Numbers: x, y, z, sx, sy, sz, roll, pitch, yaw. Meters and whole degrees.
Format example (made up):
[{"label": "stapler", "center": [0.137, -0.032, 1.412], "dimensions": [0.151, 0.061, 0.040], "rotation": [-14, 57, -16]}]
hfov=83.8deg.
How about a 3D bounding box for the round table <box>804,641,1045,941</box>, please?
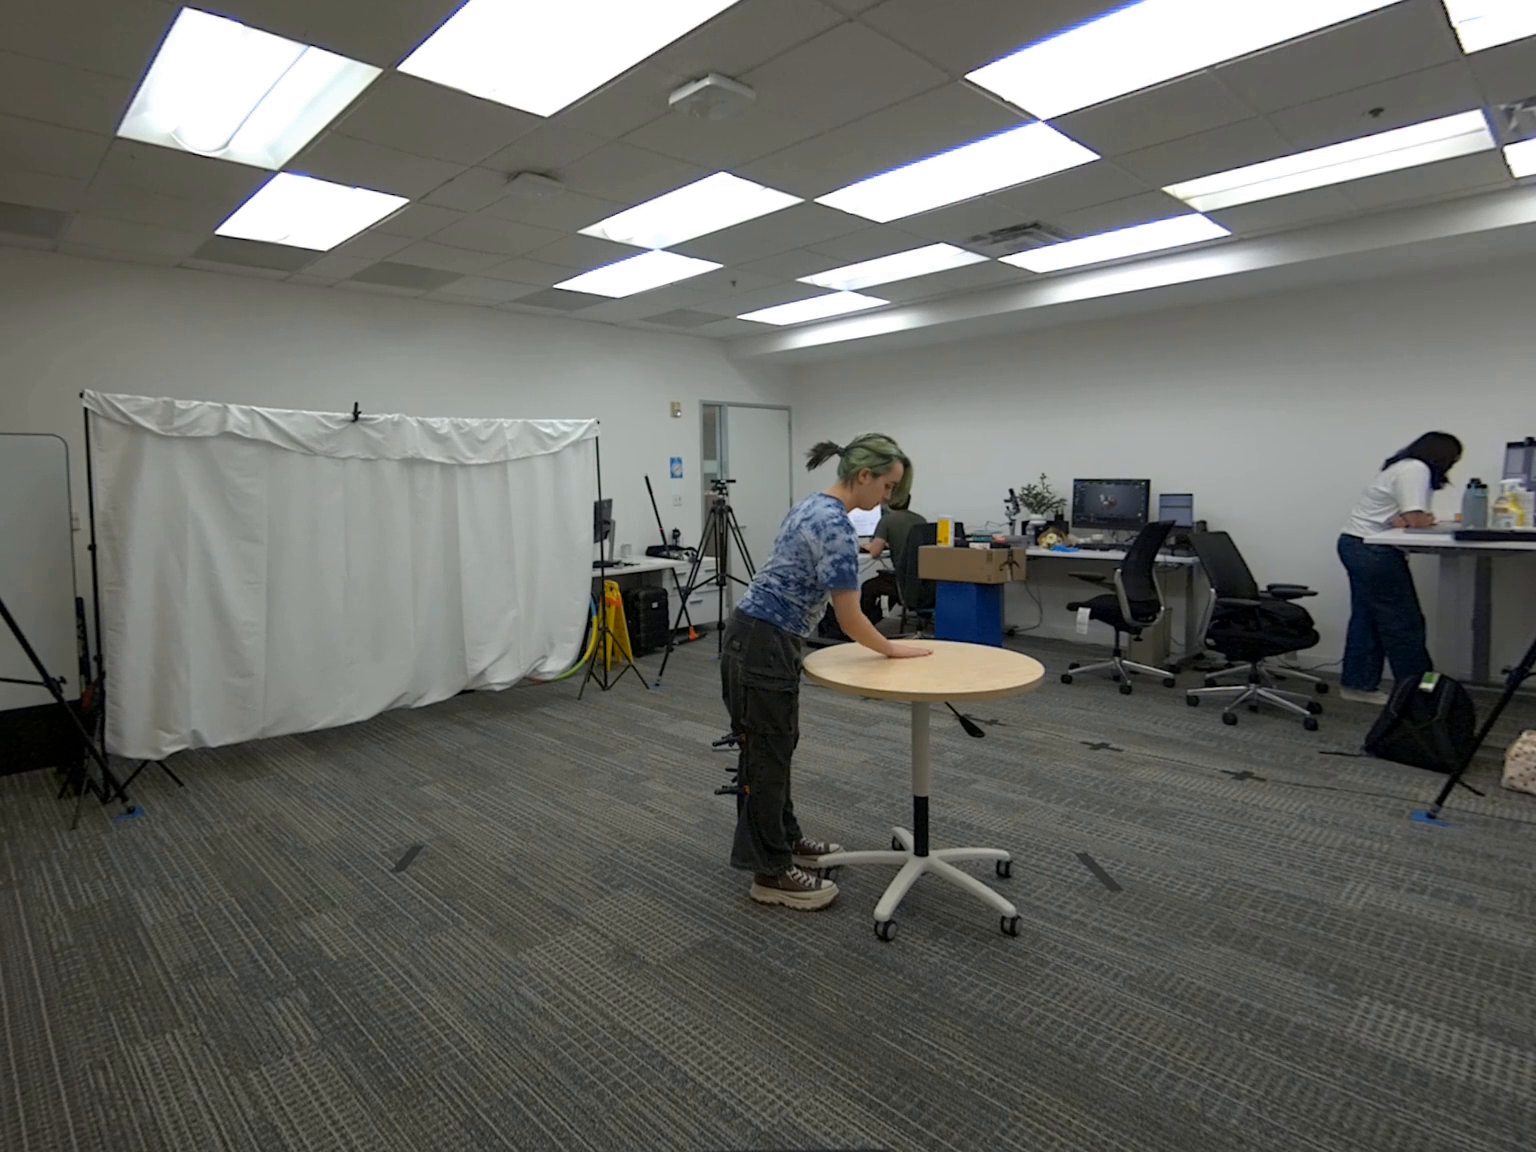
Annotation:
[{"label": "round table", "center": [0.496, 0.674, 2.819], "dimensions": [0.784, 0.783, 0.789], "rotation": [-1, 5, -2]}]
